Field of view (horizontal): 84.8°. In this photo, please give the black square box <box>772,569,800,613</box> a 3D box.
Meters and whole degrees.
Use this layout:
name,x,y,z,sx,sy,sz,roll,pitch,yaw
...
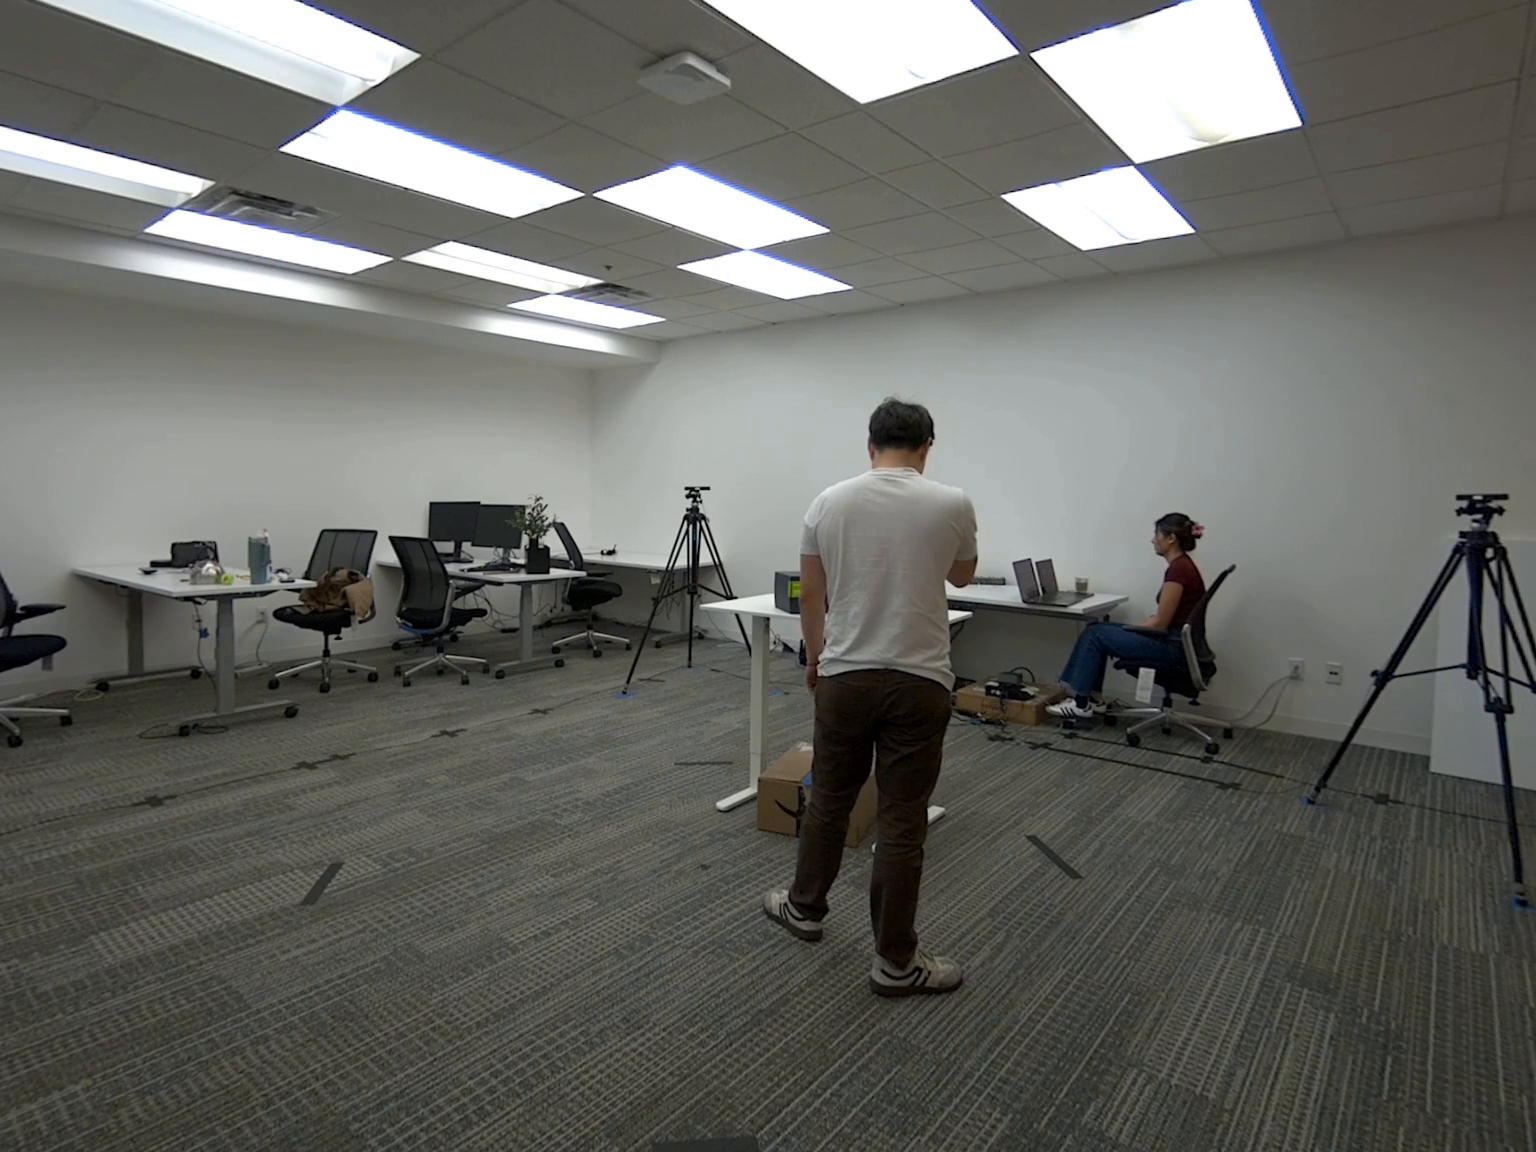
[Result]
name,x,y,z,sx,sy,sz,roll,pitch,yaw
black square box,0.160,0.060,3.589,0.224,0.155,0.221,-1,4,-17
